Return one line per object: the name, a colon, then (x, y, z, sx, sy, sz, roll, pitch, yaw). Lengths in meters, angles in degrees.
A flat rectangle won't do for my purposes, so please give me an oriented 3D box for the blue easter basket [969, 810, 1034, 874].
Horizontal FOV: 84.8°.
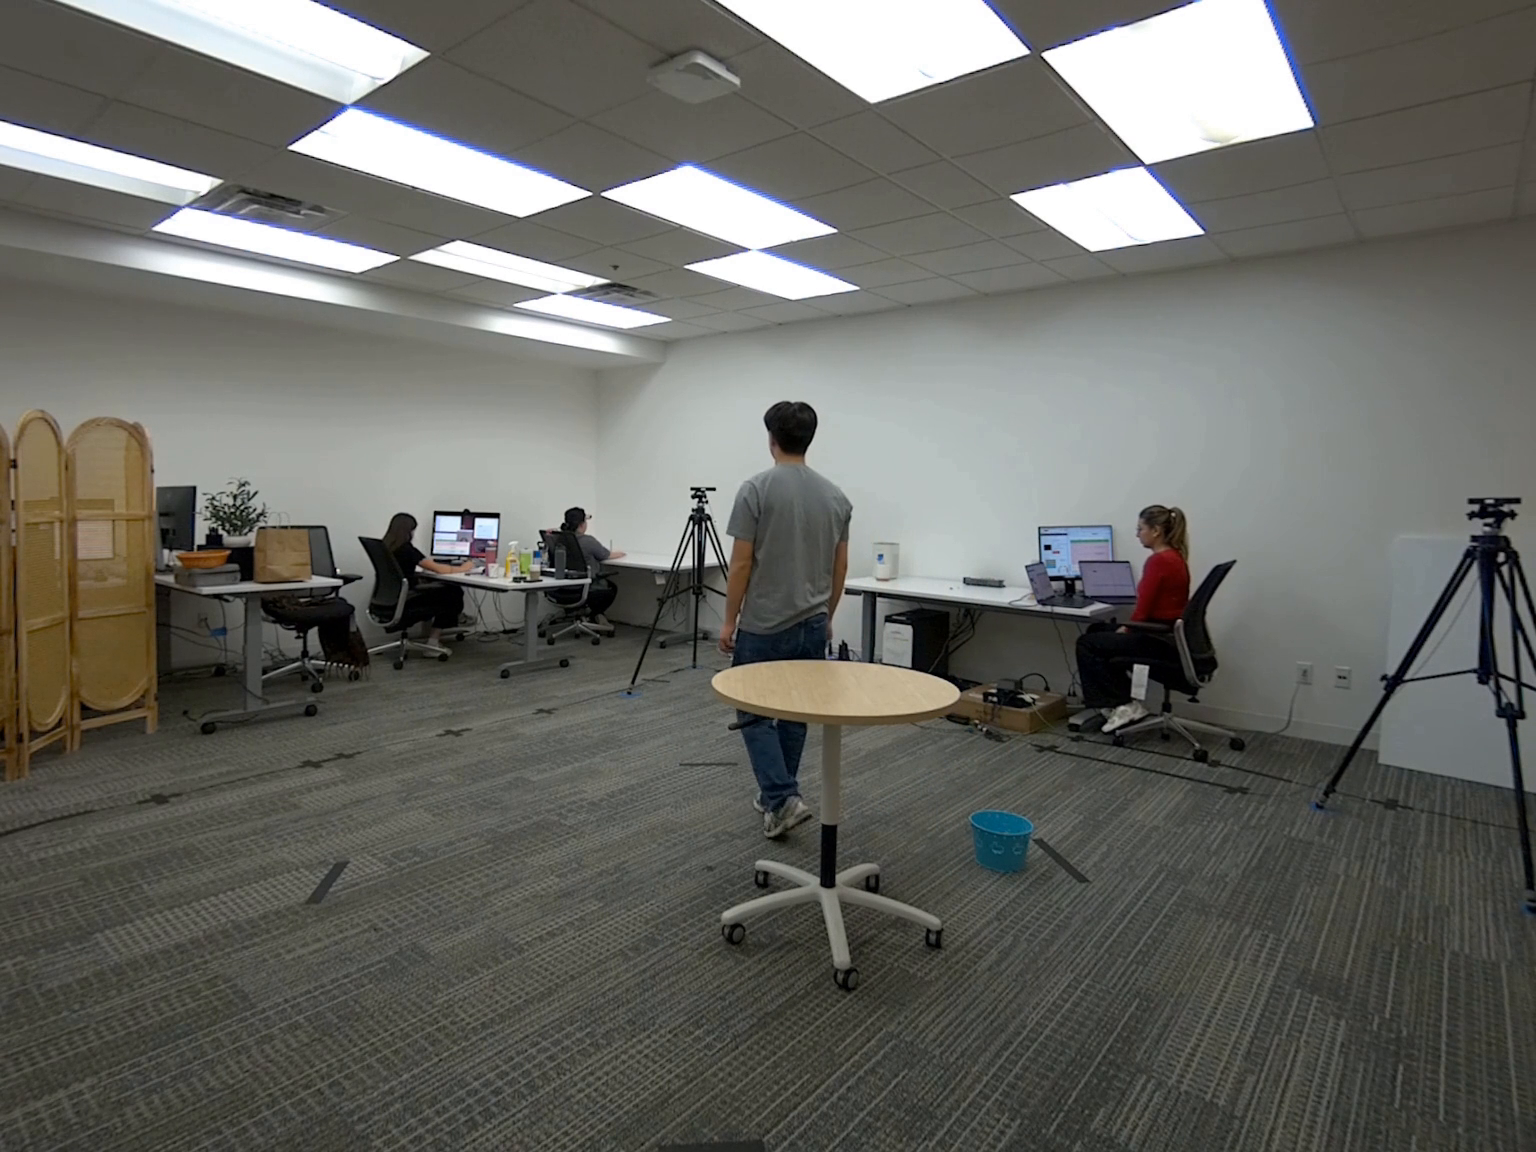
blue easter basket: (0.884, 1.001, 3.227, 0.243, 0.155, 0.245, 1, 6, -2)
